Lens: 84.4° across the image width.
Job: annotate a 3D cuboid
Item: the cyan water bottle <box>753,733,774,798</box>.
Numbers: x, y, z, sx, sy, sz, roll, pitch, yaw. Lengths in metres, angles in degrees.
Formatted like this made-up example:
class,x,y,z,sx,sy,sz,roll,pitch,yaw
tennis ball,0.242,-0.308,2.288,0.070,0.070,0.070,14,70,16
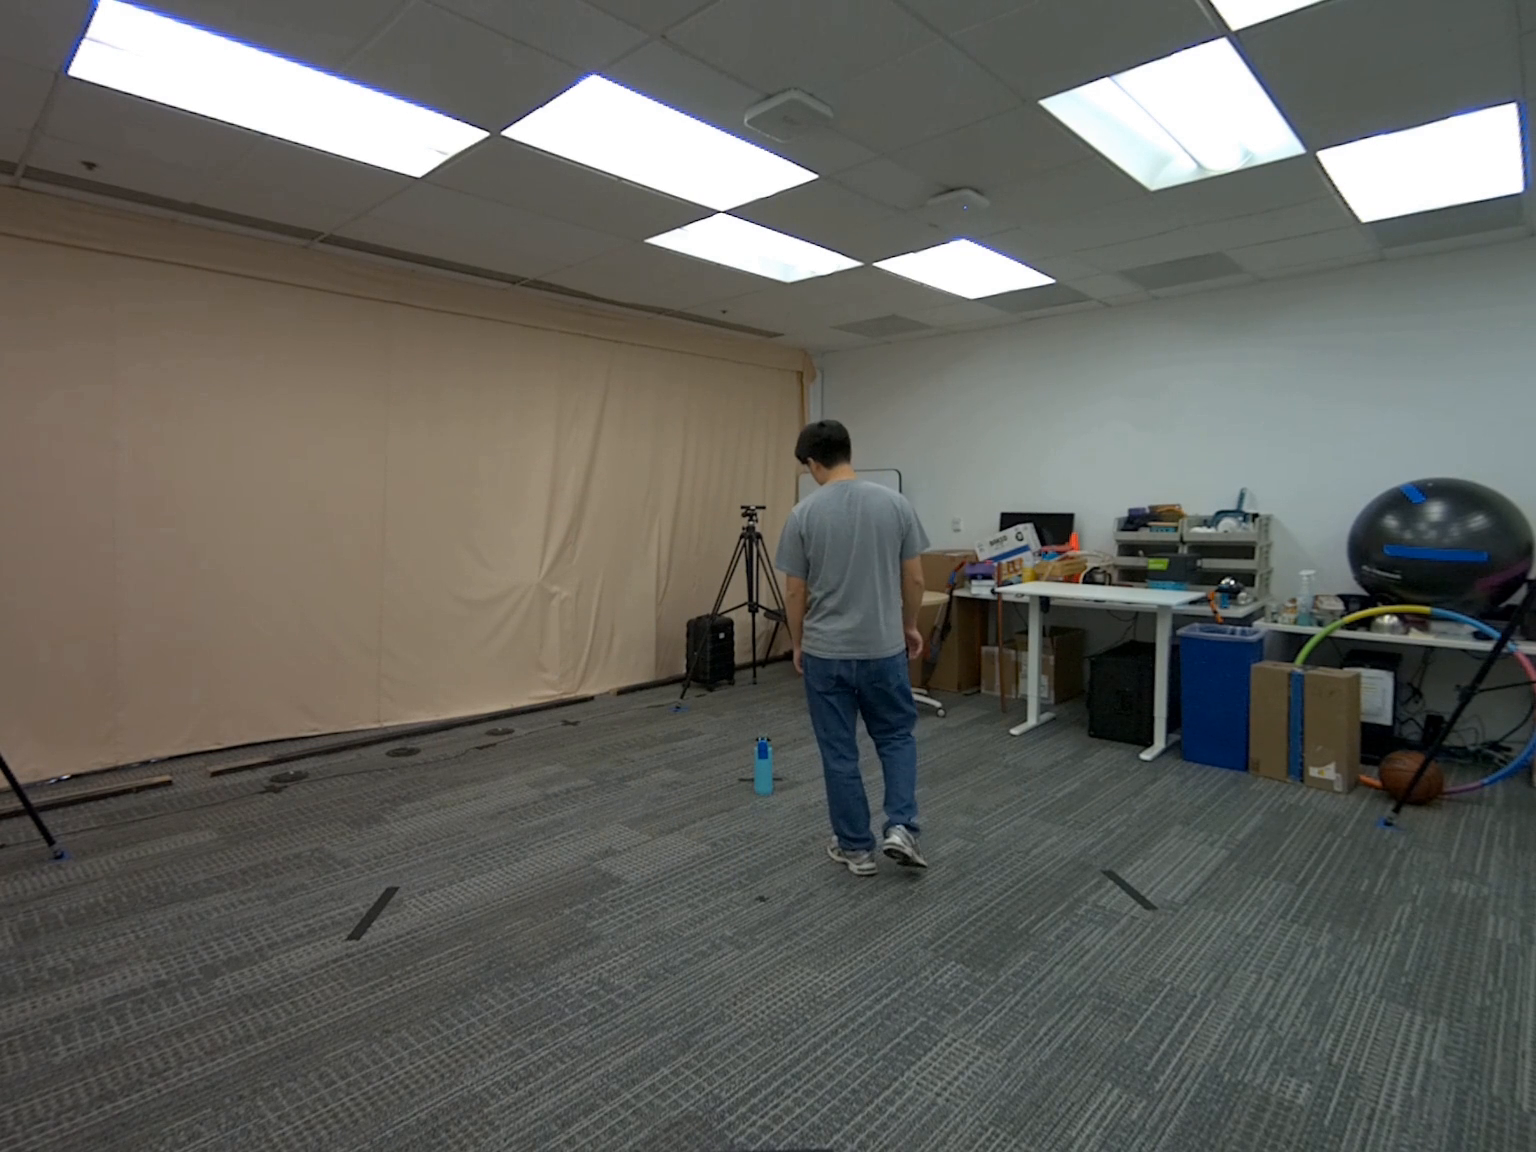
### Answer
class,x,y,z,sx,sy,sz,roll,pitch,yaw
cyan water bottle,-0.024,0.913,4.103,0.092,0.283,0.092,0,3,-2
